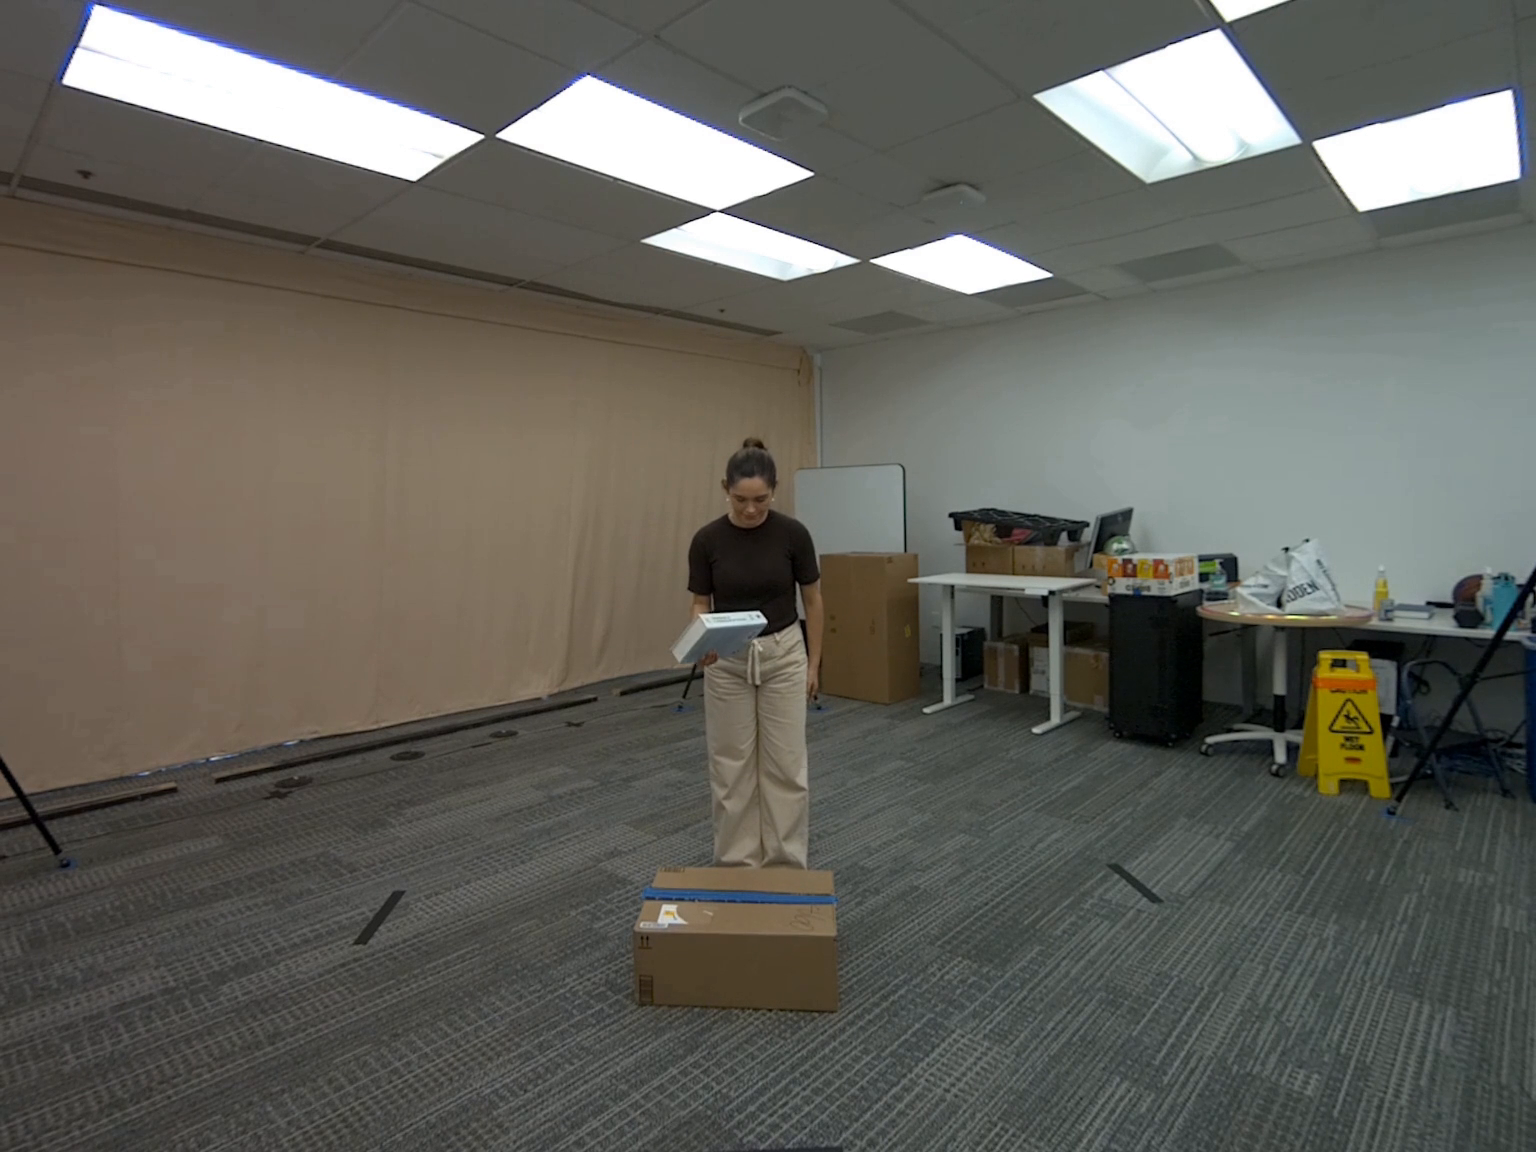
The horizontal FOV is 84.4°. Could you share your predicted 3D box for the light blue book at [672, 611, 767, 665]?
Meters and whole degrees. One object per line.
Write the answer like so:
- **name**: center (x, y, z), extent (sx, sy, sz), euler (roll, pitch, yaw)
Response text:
- **light blue book**: center (-0.163, 0.192, 2.674), extent (0.253, 0.060, 0.192), euler (-1, -39, -44)
